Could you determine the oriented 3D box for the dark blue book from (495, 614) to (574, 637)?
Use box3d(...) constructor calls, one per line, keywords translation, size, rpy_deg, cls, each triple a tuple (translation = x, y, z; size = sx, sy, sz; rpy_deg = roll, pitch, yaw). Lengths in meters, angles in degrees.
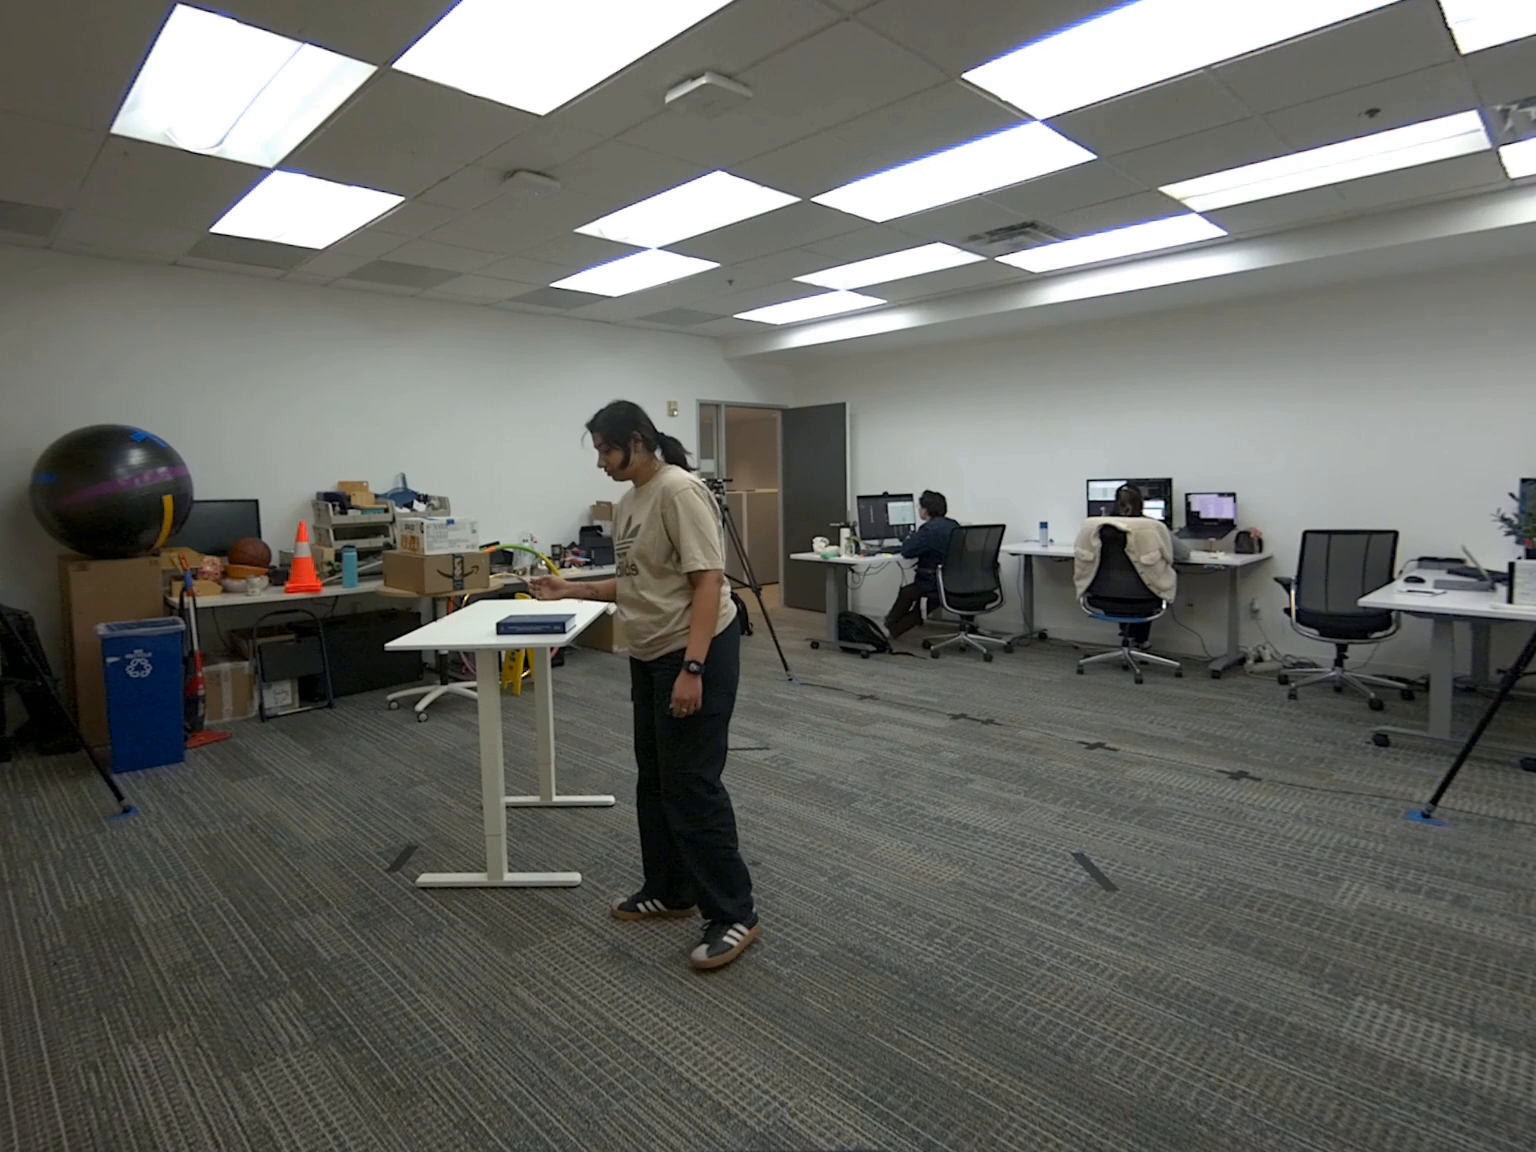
box3d(translation=(-0.842, 0.172, 3.012), size=(0.246, 0.045, 0.163), rpy_deg=(-1, 7, 3), cls="dark blue book")
